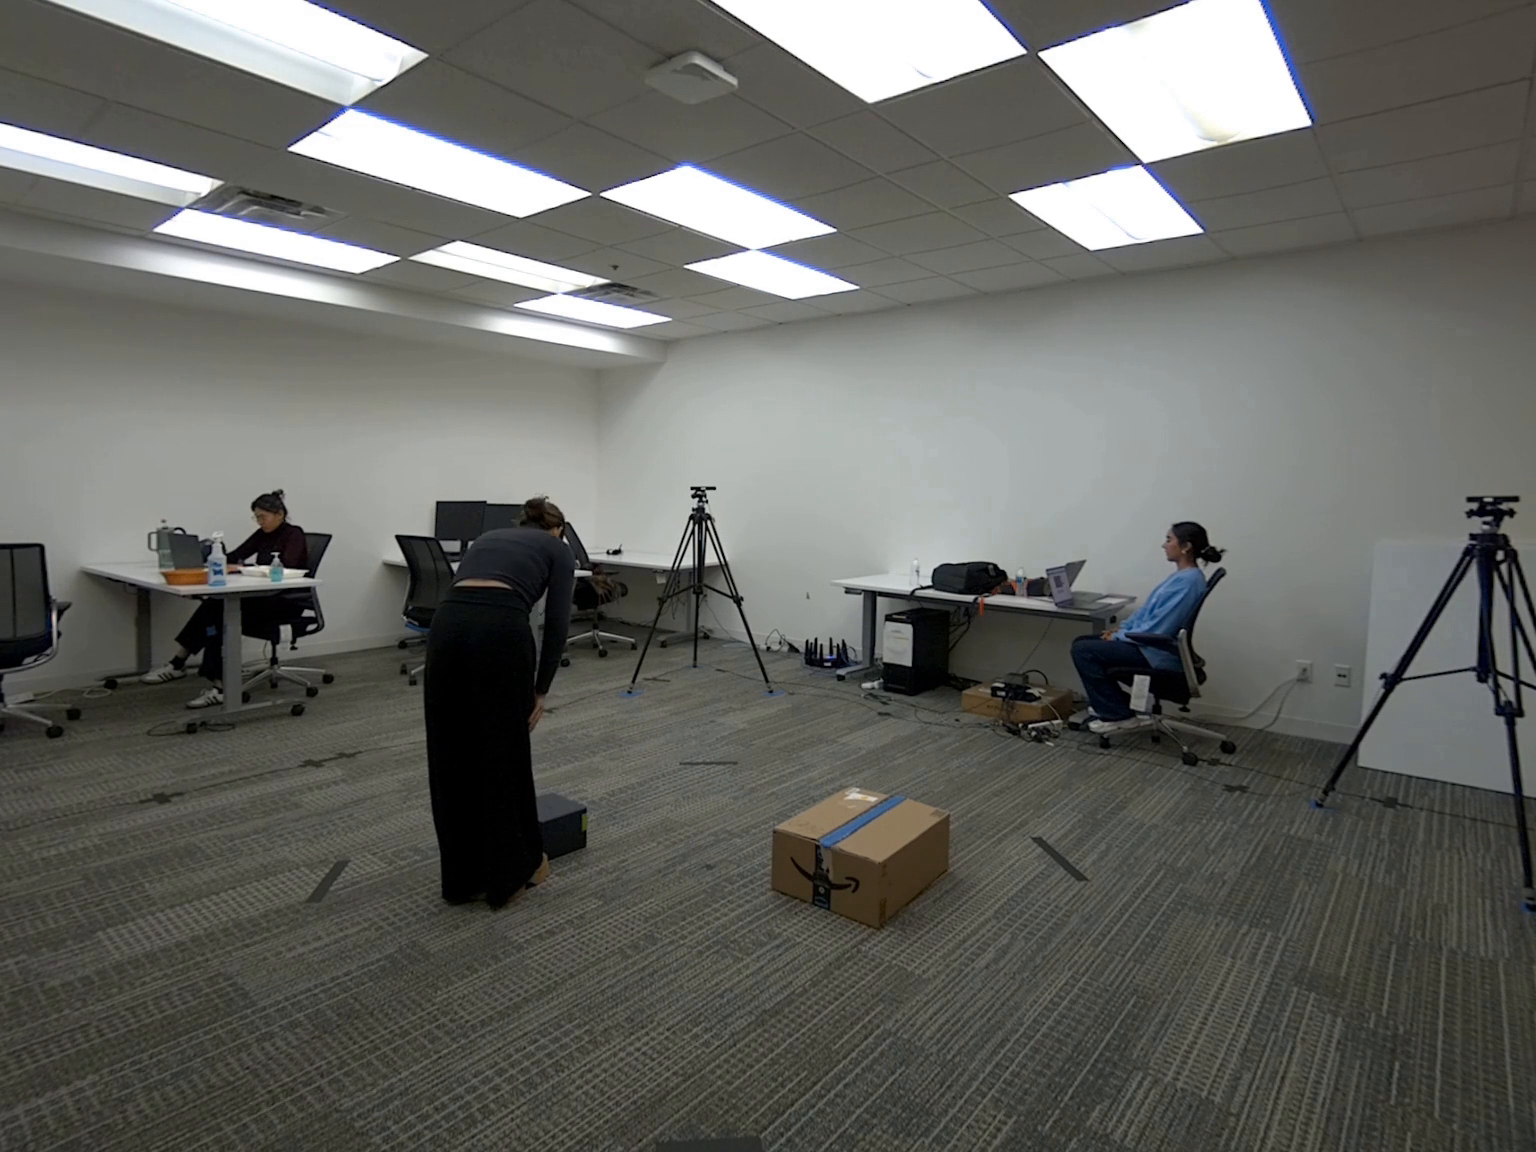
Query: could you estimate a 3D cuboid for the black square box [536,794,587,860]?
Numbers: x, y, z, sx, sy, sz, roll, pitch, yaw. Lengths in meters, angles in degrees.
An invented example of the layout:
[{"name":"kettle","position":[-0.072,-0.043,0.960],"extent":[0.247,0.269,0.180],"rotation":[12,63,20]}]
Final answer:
[{"name":"black square box","position":[-0.856,0.954,3.260],"extent":[0.236,0.155,0.210],"rotation":[5,6,41]}]
